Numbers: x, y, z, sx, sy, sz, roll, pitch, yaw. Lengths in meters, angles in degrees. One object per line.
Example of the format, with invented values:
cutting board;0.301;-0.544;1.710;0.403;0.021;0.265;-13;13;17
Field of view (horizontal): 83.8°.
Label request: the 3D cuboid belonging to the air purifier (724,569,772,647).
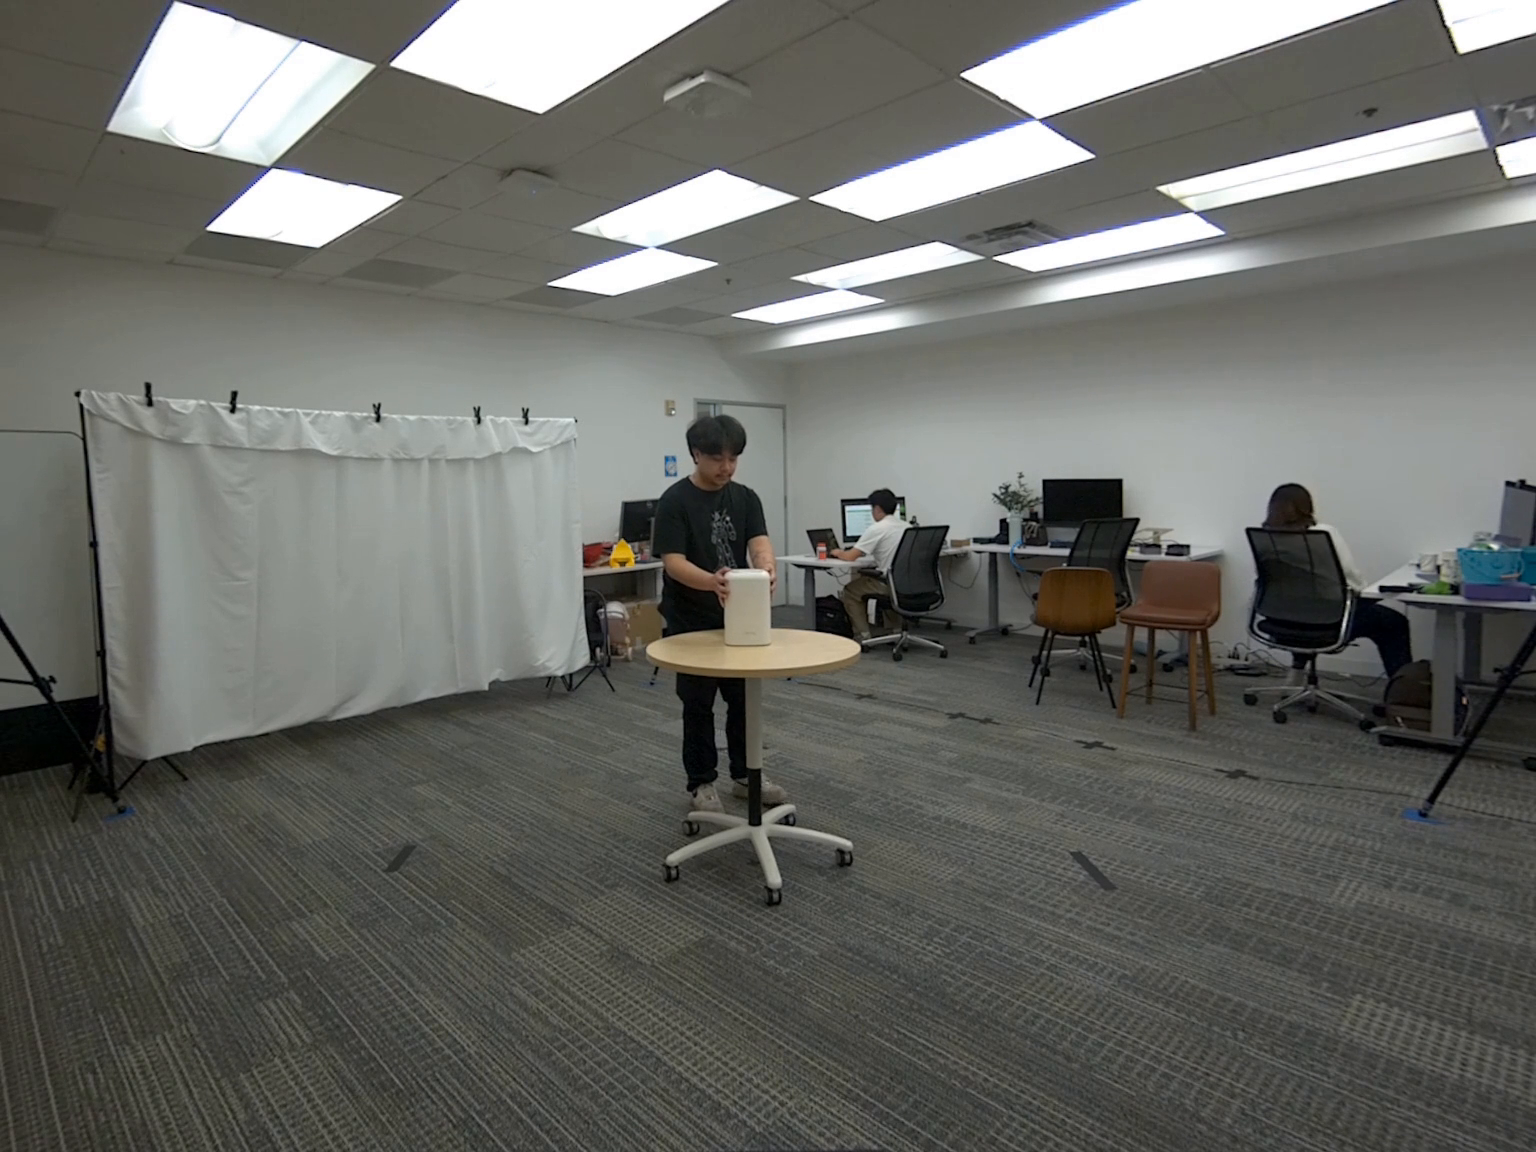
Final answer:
air purifier;-0.075;0.117;3.143;0.171;0.264;0.172;-2;5;1
